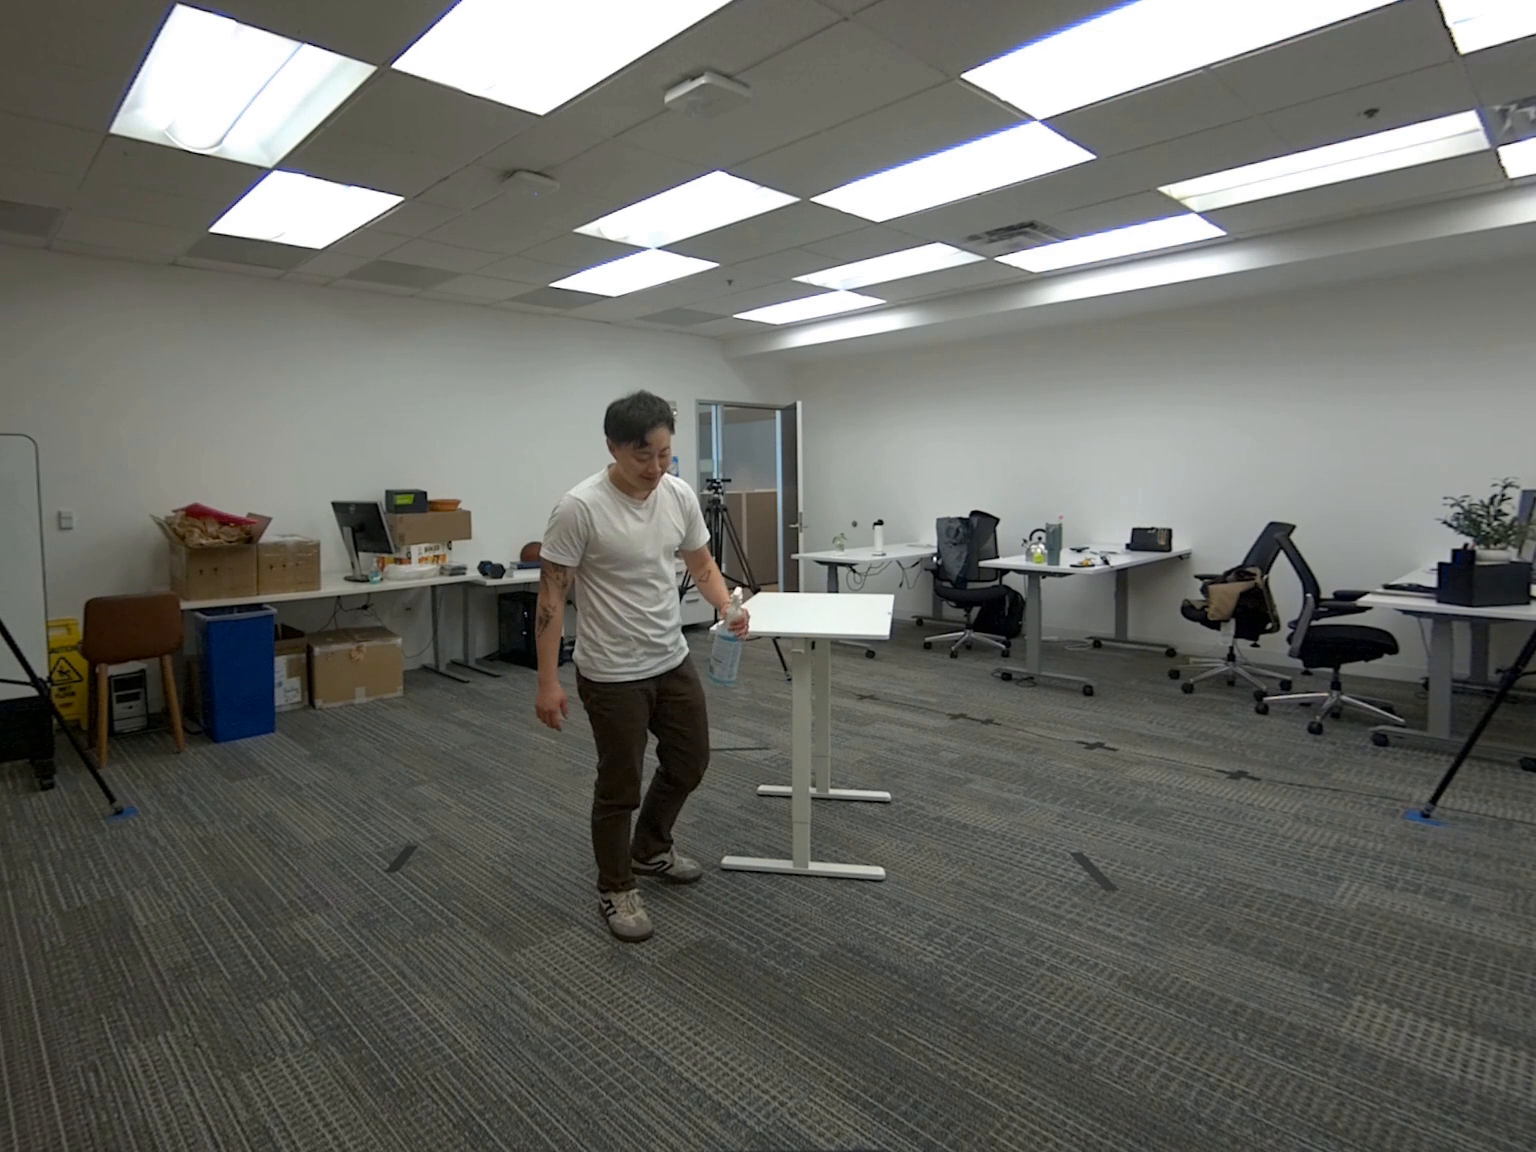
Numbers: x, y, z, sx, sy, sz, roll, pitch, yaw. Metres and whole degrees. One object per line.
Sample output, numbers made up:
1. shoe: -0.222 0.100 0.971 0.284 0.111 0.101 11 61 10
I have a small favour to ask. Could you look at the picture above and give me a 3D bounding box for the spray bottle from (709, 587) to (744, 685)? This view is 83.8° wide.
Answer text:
1. spray bottle: -0.113 0.172 2.527 0.090 0.294 0.088 19 17 28
